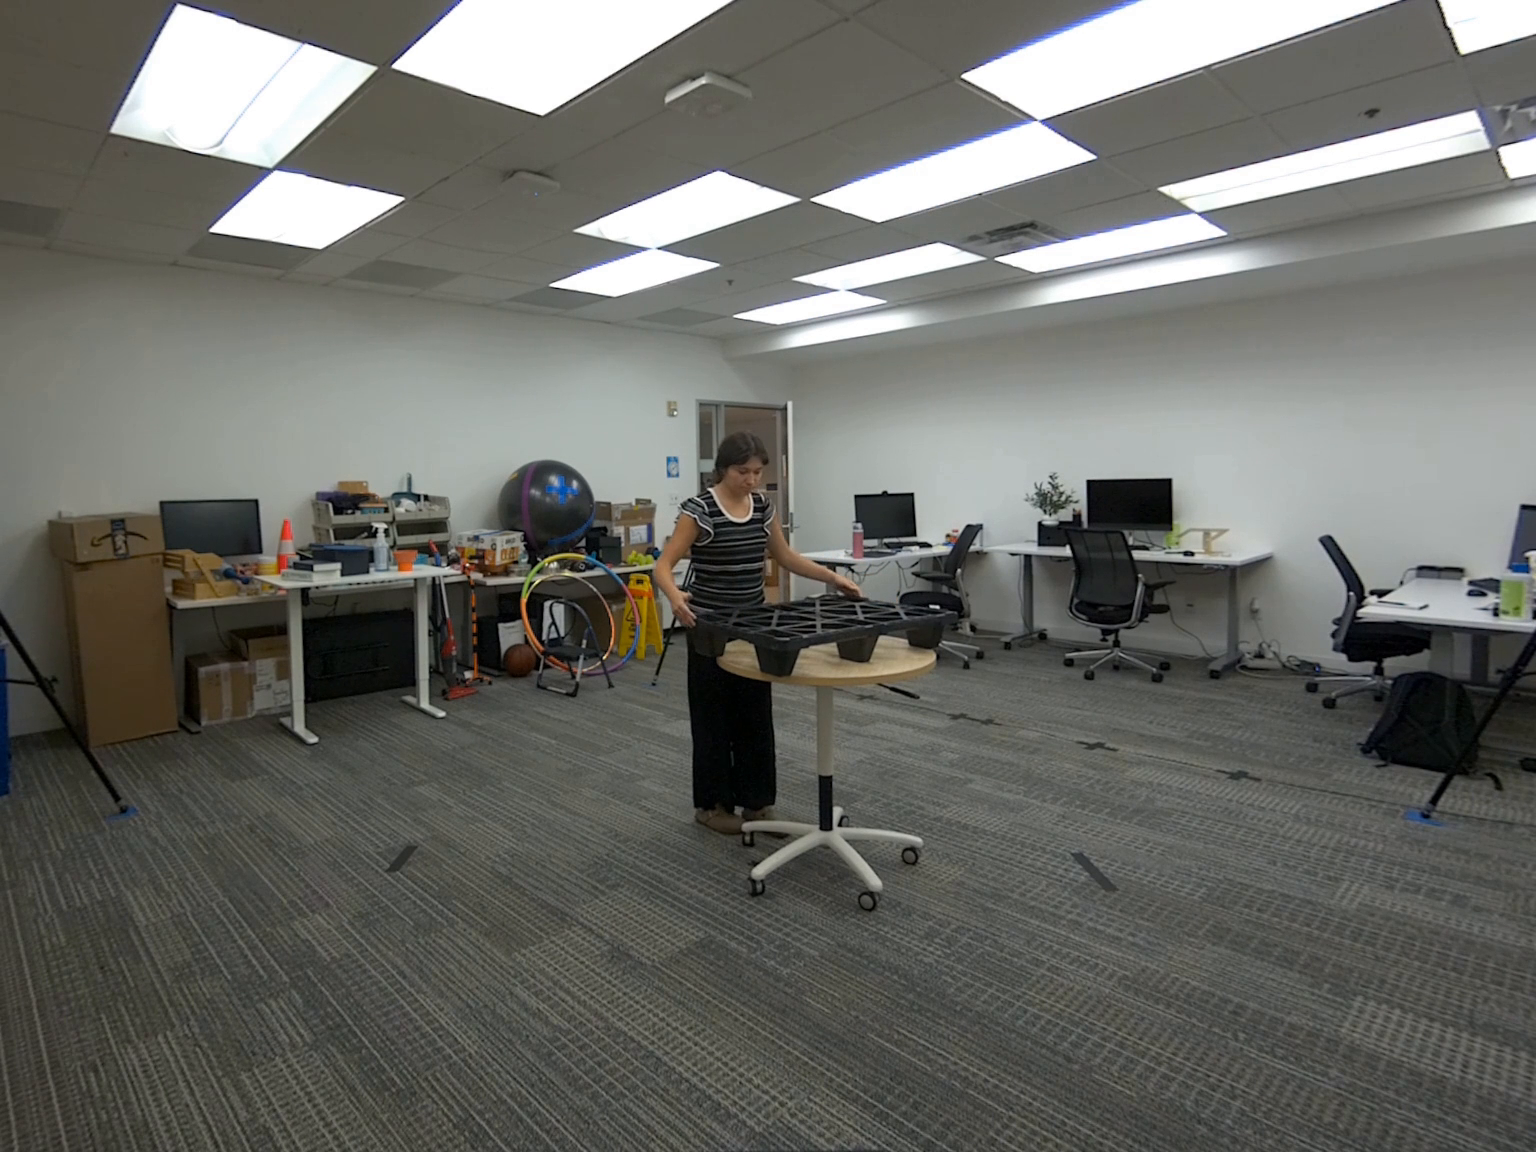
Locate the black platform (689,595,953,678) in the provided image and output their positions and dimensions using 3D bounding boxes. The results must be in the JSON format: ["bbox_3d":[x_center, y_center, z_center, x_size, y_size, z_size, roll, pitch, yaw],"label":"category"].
[{"bbox_3d":[0.185,0.199,3.032,0.785,0.142,0.624,-6,9,-36],"label":"black platform"}]
